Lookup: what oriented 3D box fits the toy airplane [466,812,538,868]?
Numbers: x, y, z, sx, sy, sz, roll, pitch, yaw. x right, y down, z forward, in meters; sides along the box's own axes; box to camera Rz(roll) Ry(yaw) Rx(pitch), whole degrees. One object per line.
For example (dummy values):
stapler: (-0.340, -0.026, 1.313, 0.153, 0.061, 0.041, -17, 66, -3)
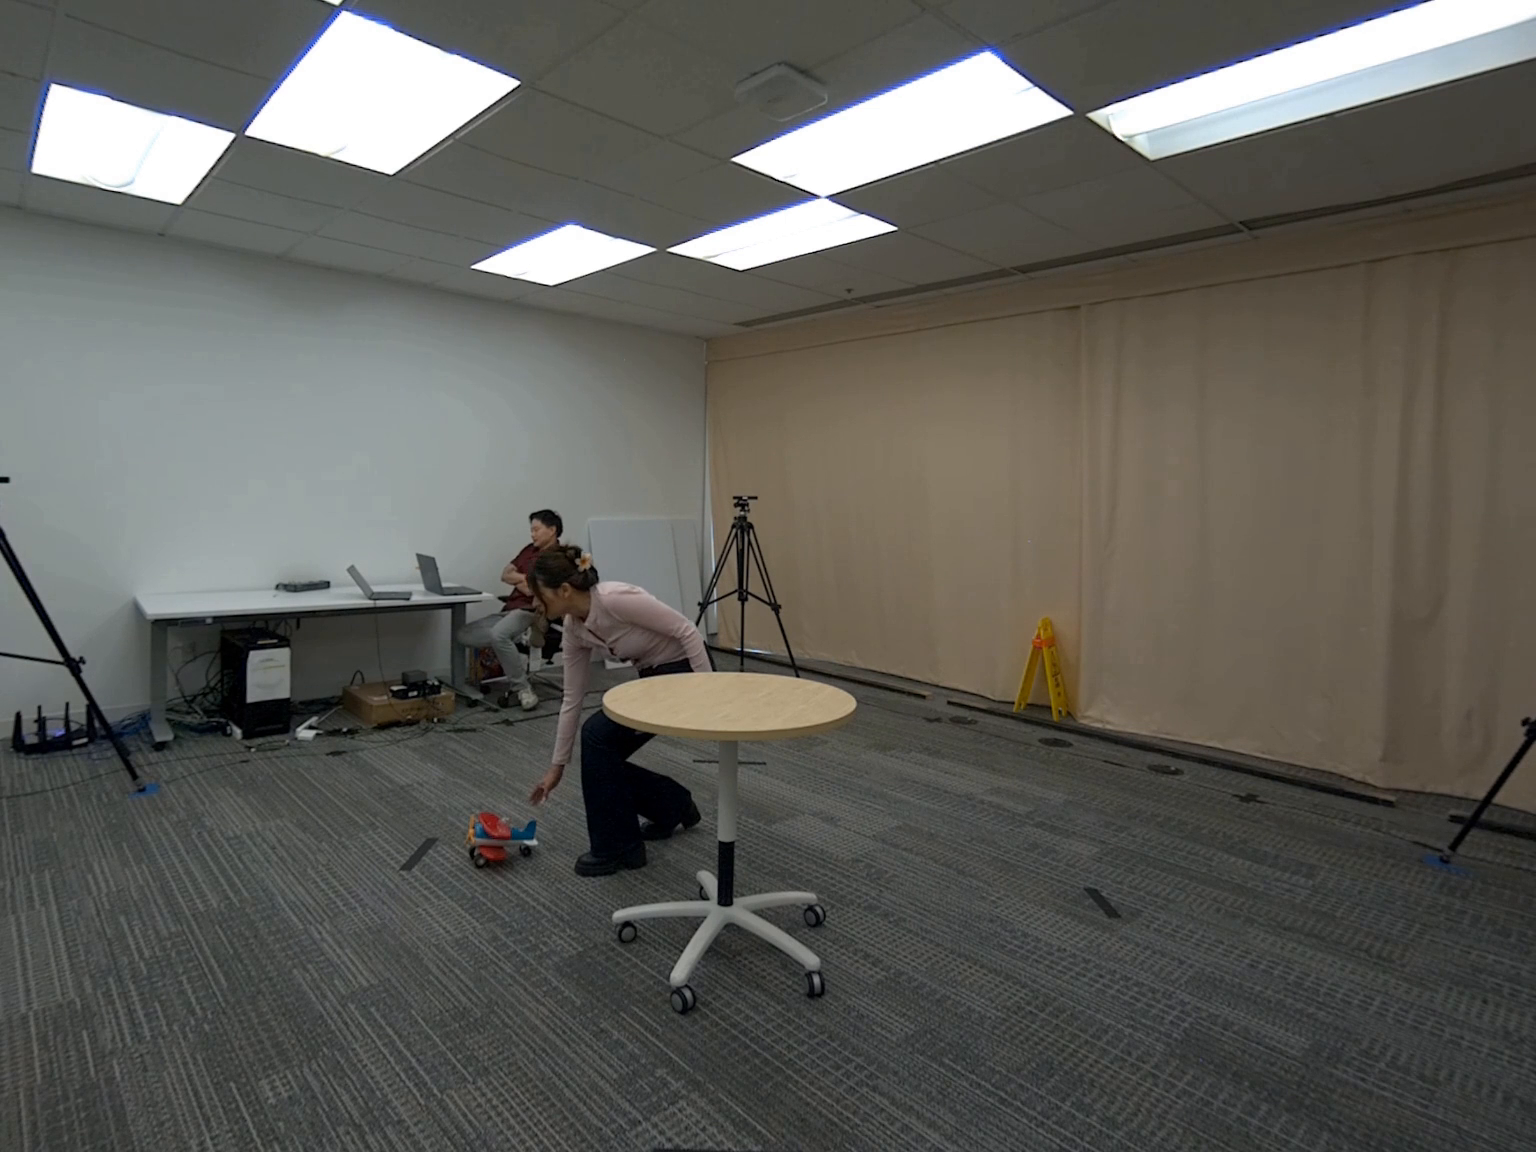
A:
toy airplane: (-1.024, 0.999, 3.202, 0.257, 0.156, 0.254, 4, 7, 30)
